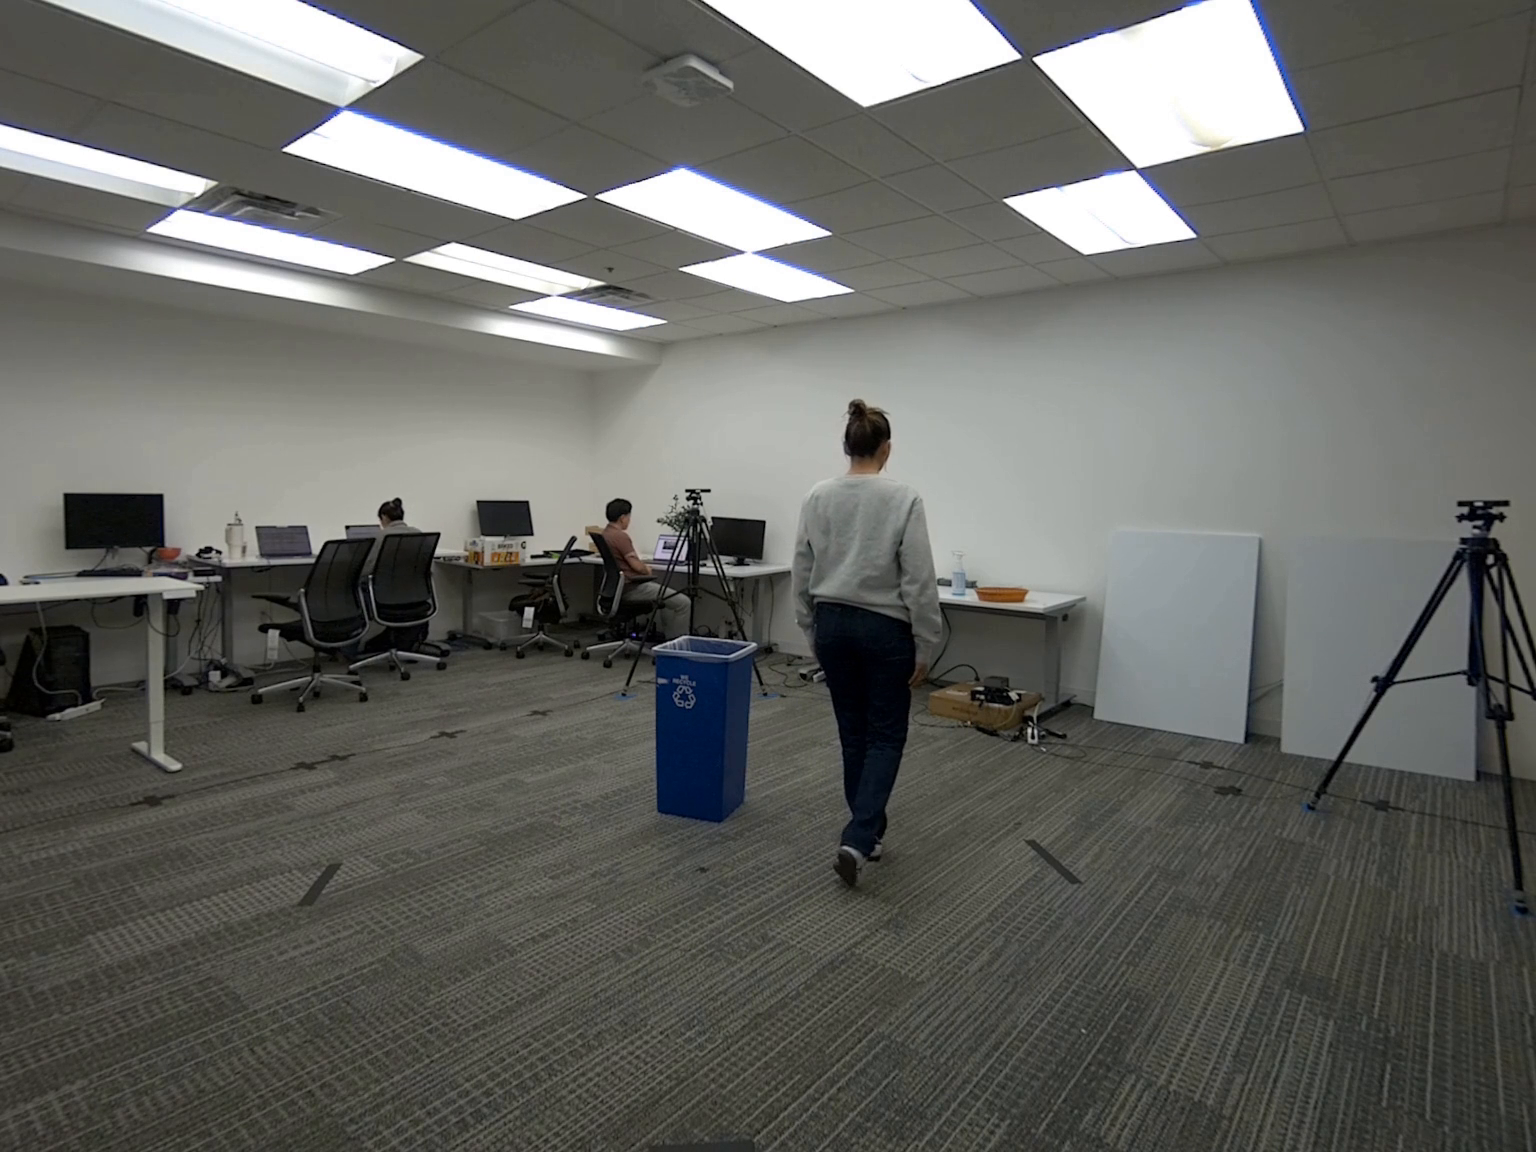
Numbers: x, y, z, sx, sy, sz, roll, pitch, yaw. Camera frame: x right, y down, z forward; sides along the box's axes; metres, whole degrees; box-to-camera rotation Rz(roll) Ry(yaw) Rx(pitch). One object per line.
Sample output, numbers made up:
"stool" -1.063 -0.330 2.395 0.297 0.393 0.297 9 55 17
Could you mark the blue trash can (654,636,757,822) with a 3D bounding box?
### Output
"blue trash can" -0.289 0.655 3.729 0.382 0.711 0.371 2 4 20
